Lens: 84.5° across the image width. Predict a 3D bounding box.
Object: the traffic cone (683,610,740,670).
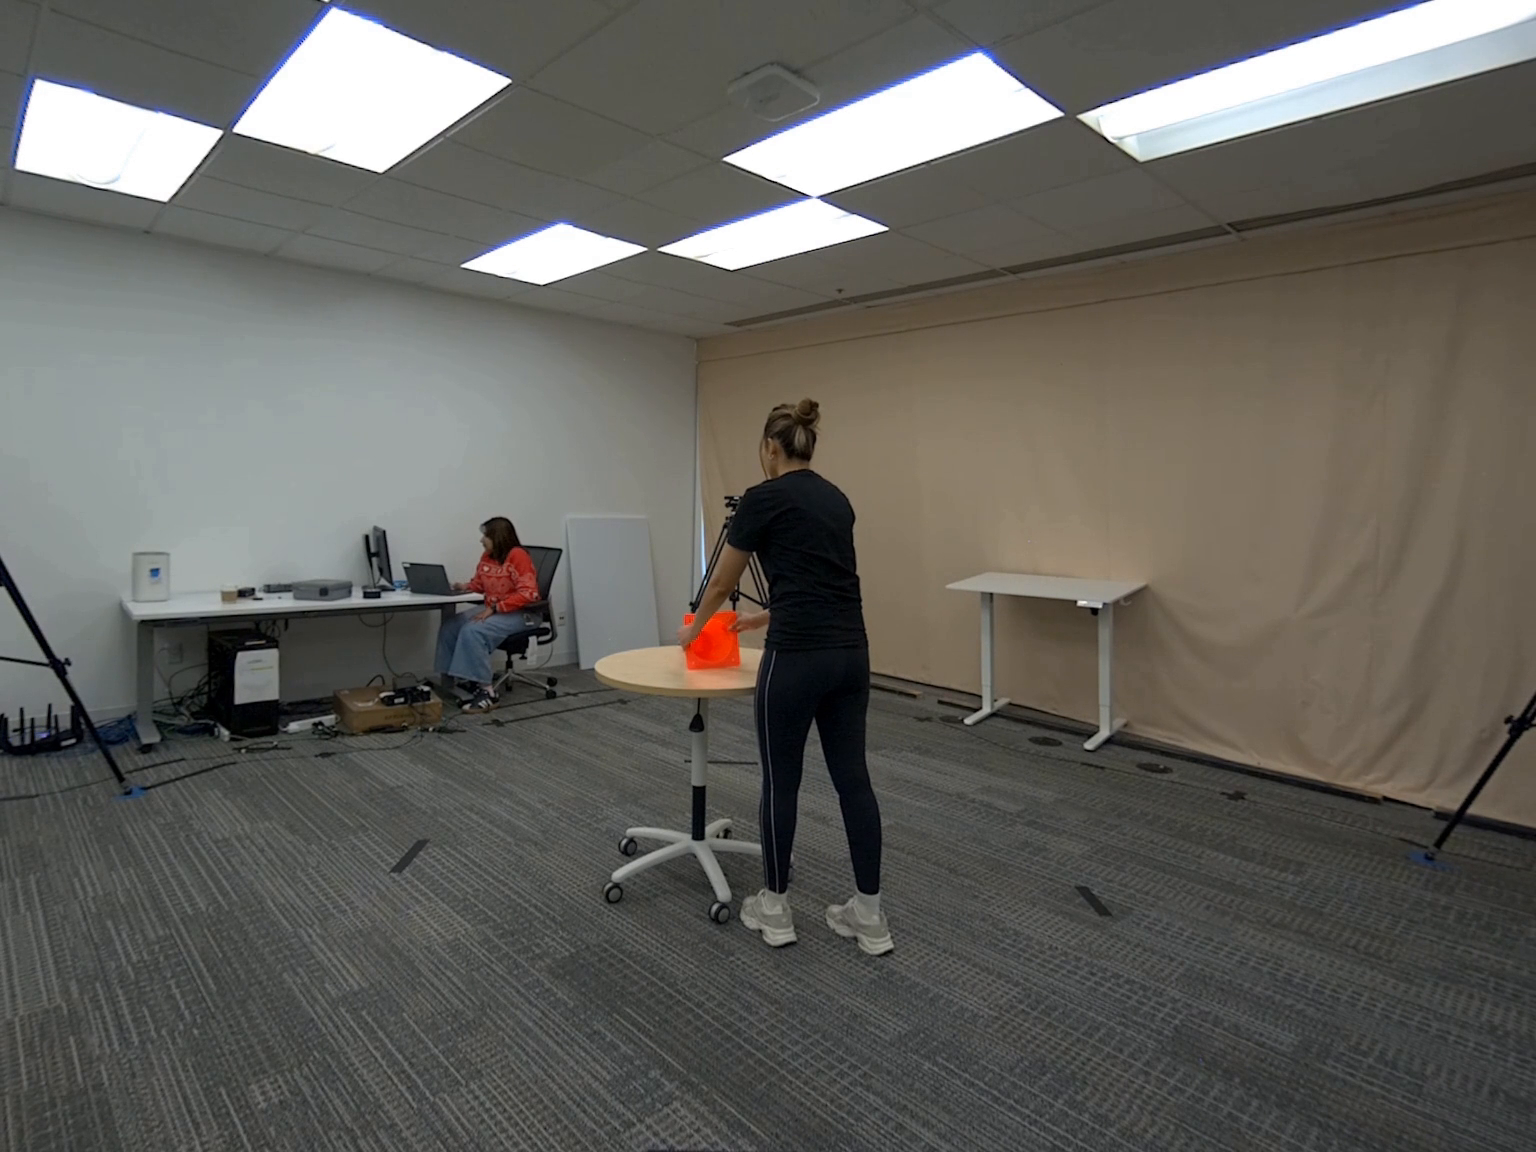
[{"bbox_3d":[-0.269,0.253,3.175,0.201,0.206,0.386,-5,-5,-18],"label":"traffic cone"}]
